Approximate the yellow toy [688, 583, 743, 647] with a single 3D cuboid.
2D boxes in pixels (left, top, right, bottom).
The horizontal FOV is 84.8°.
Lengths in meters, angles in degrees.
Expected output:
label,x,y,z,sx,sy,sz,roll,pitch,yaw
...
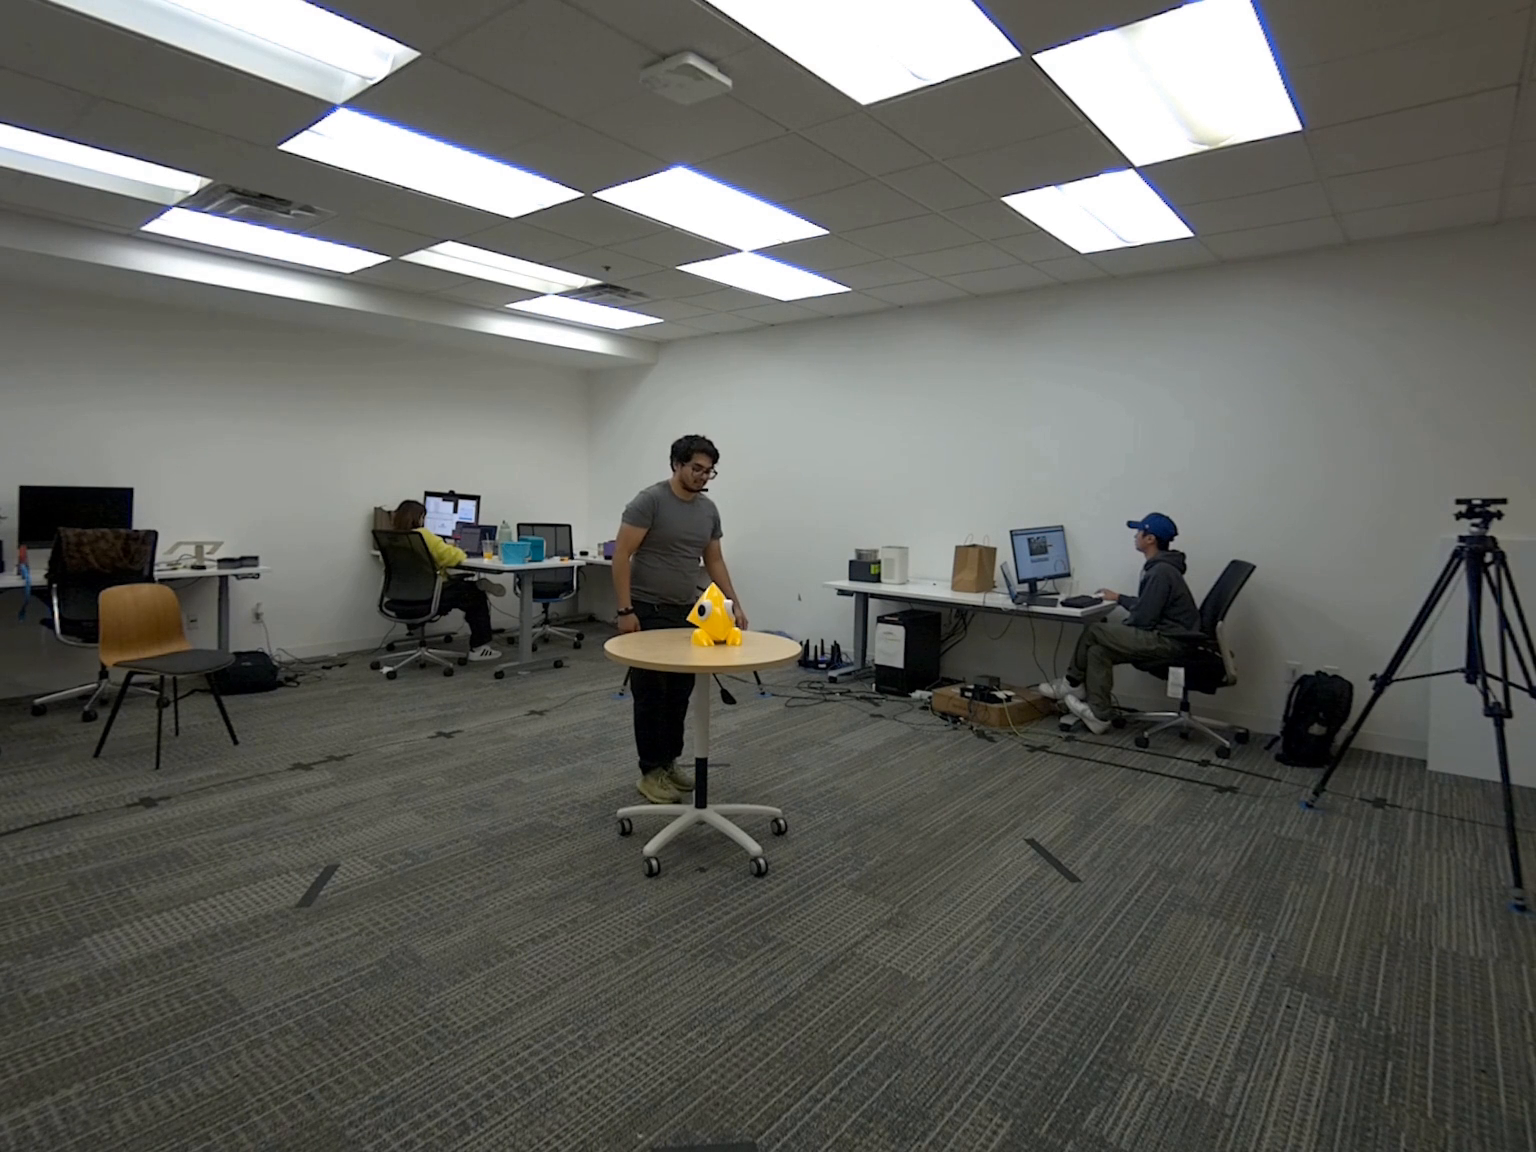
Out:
label,x,y,z,sx,sy,sz,roll,pitch,yaw
yellow toy,-0.217,0.146,3.374,0.201,0.230,0.197,0,5,-17
